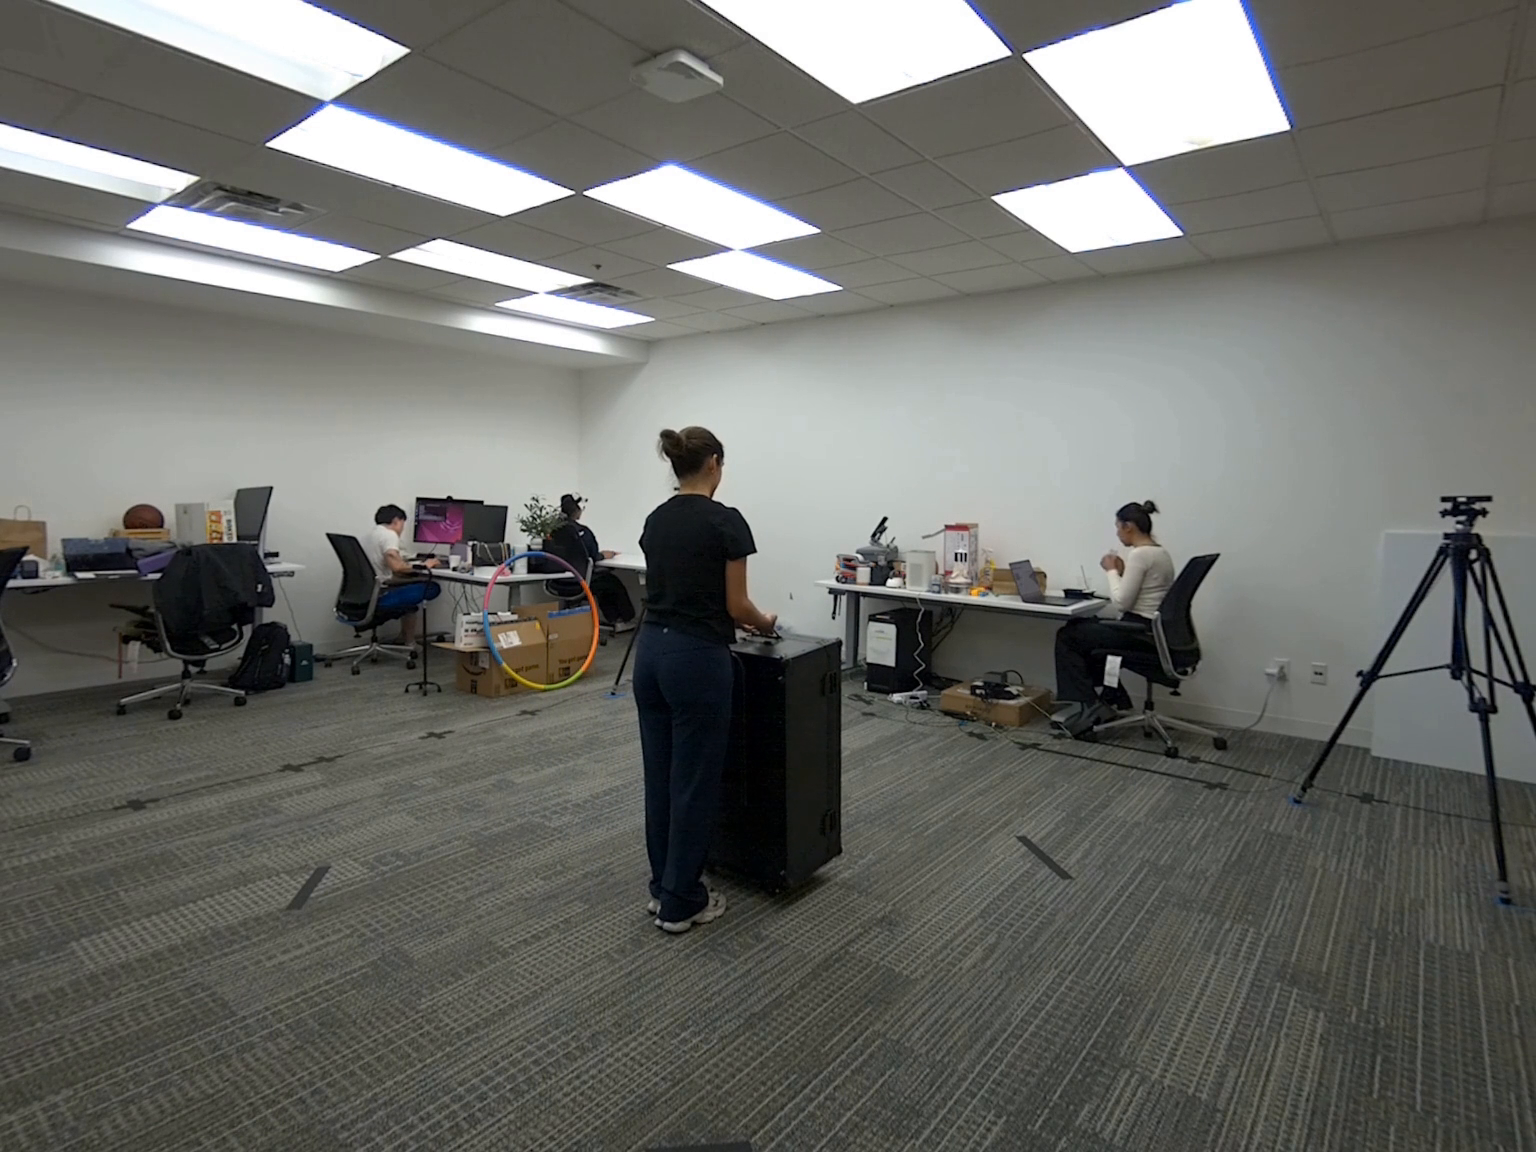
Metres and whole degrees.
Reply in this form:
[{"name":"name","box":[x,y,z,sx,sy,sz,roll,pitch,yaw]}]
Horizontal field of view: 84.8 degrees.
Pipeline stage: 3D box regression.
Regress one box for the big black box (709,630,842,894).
[{"name":"big black box","box":[-0.023,0.645,3.045,0.538,0.857,0.386,4,7,38]}]
